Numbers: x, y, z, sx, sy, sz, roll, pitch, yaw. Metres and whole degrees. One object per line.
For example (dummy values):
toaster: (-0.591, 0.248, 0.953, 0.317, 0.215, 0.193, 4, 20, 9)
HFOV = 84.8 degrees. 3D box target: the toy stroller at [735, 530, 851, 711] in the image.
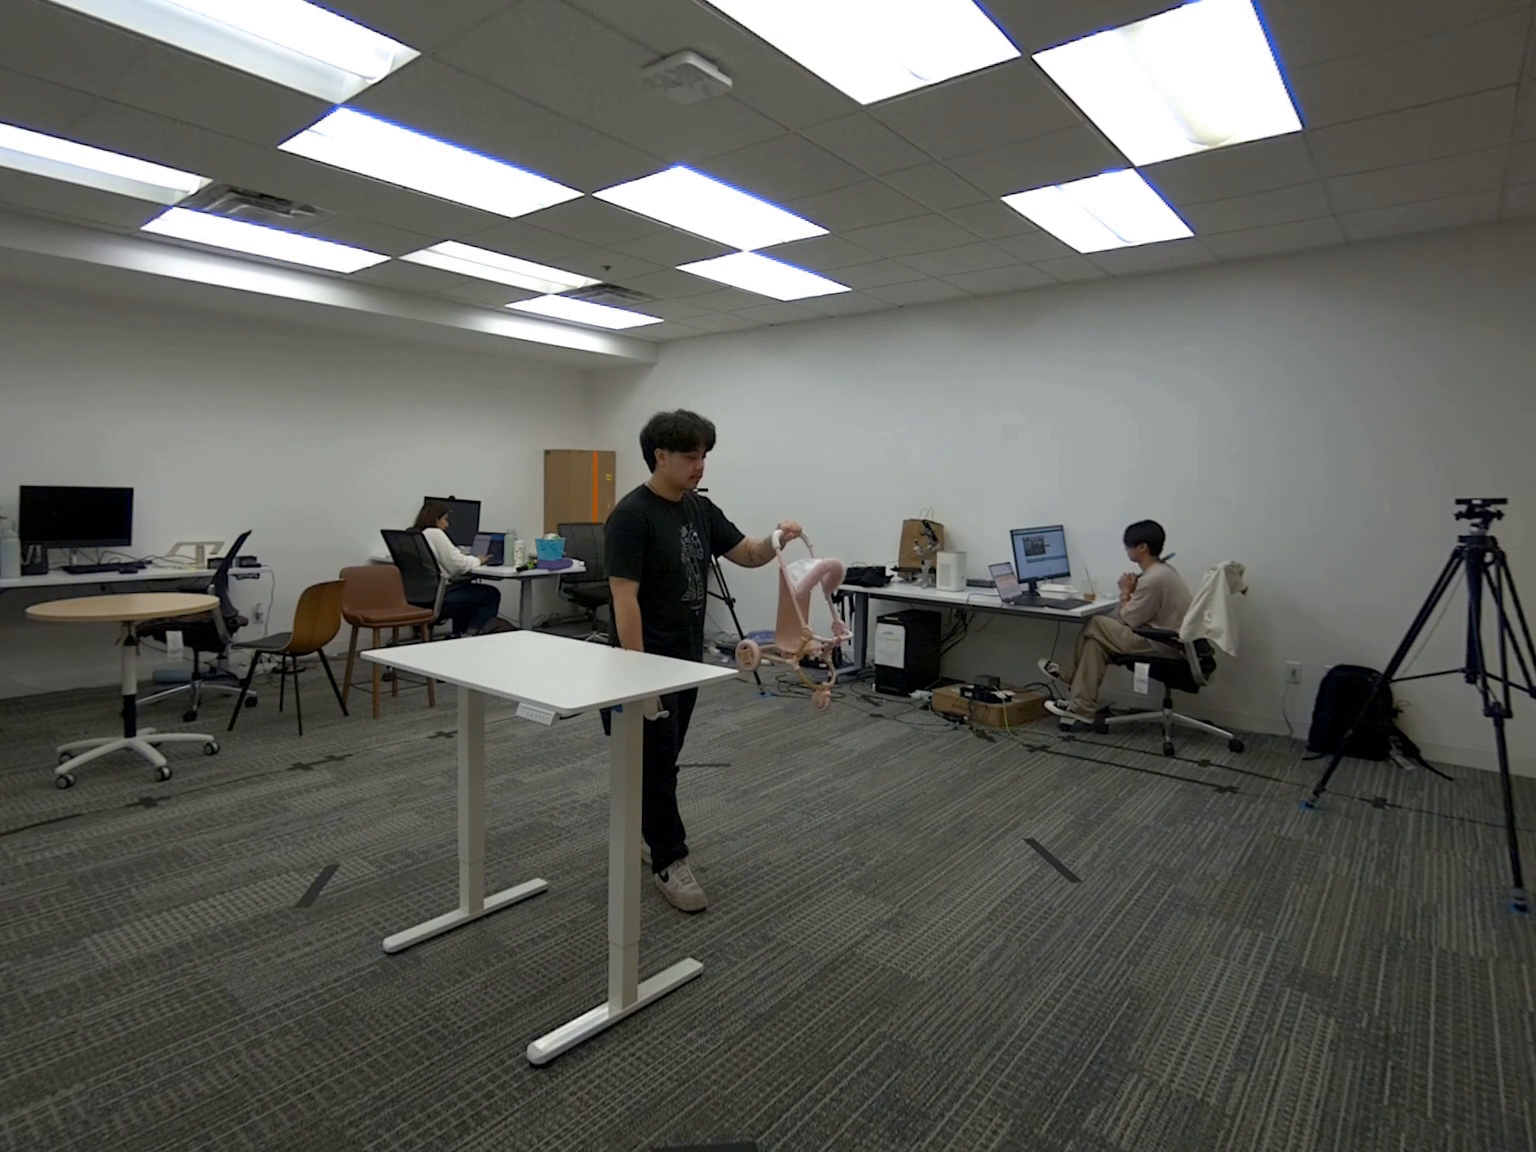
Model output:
toy stroller: (0.117, 0.141, 2.836, 0.272, 0.531, 0.355, 2, 17, -46)
